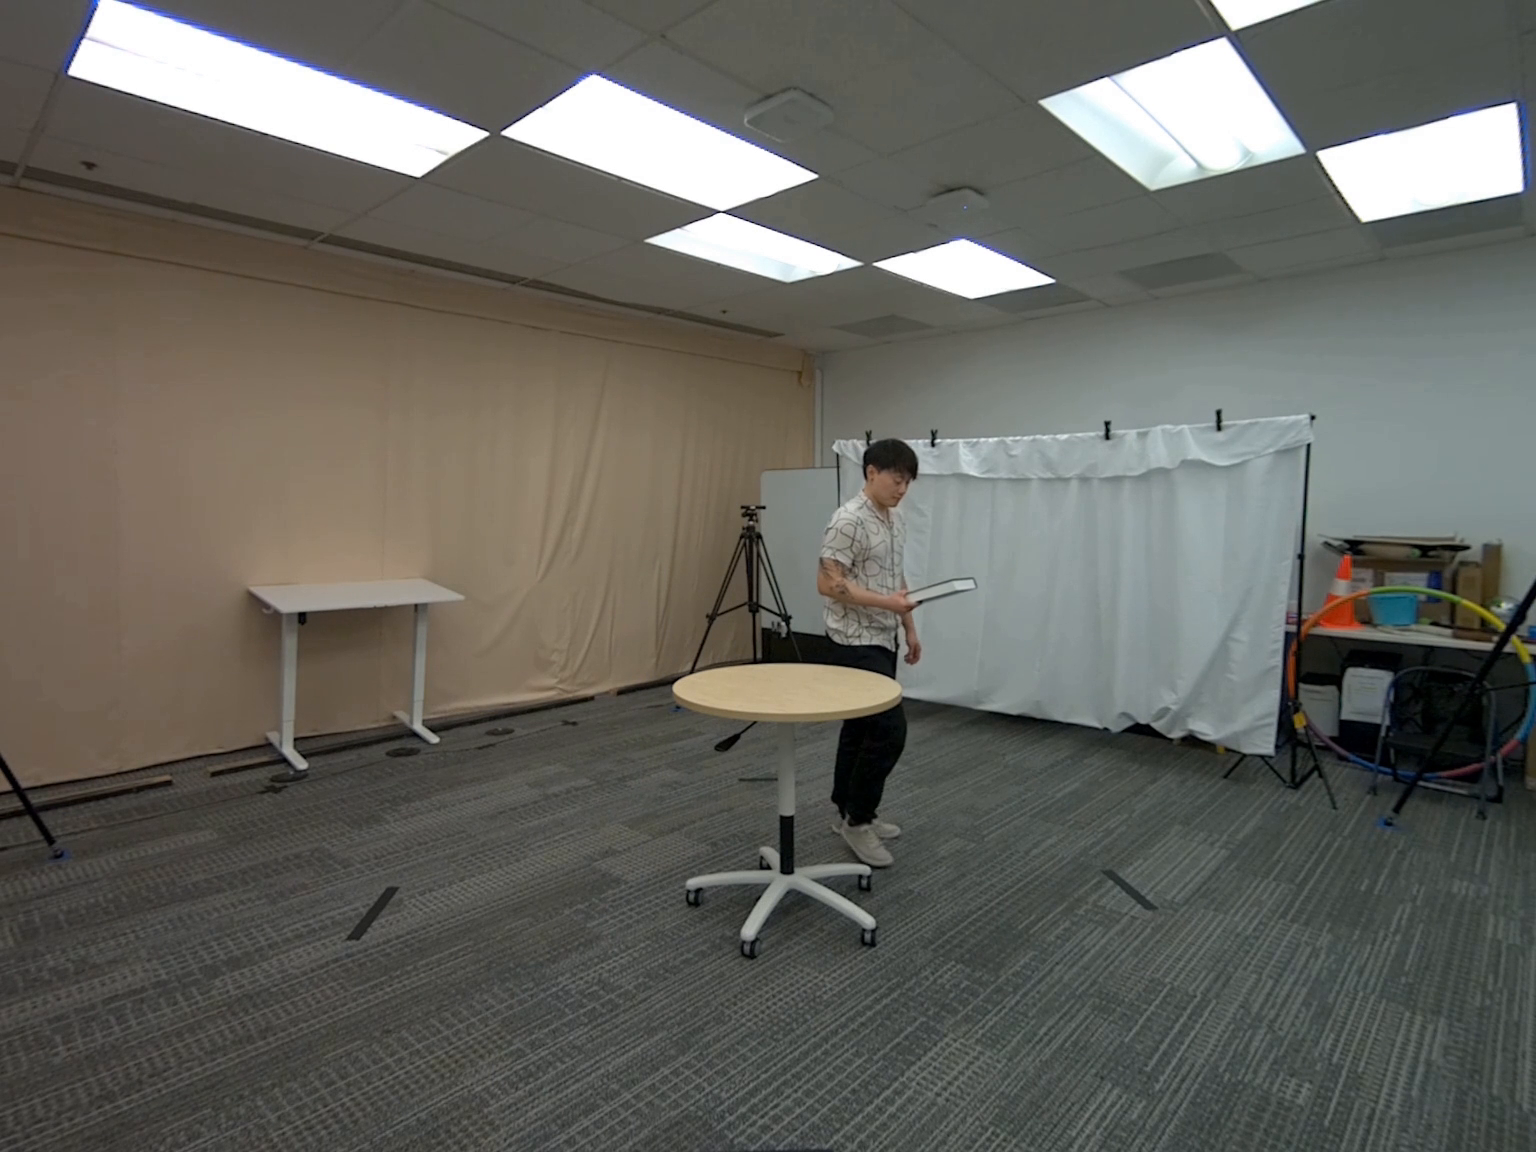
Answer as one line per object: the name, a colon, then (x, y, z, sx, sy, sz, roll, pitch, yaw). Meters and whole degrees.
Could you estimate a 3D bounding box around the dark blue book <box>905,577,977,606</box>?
dark blue book: (0.634, 0.059, 3.221, 0.251, 0.045, 0.158, -18, -9, 40)
